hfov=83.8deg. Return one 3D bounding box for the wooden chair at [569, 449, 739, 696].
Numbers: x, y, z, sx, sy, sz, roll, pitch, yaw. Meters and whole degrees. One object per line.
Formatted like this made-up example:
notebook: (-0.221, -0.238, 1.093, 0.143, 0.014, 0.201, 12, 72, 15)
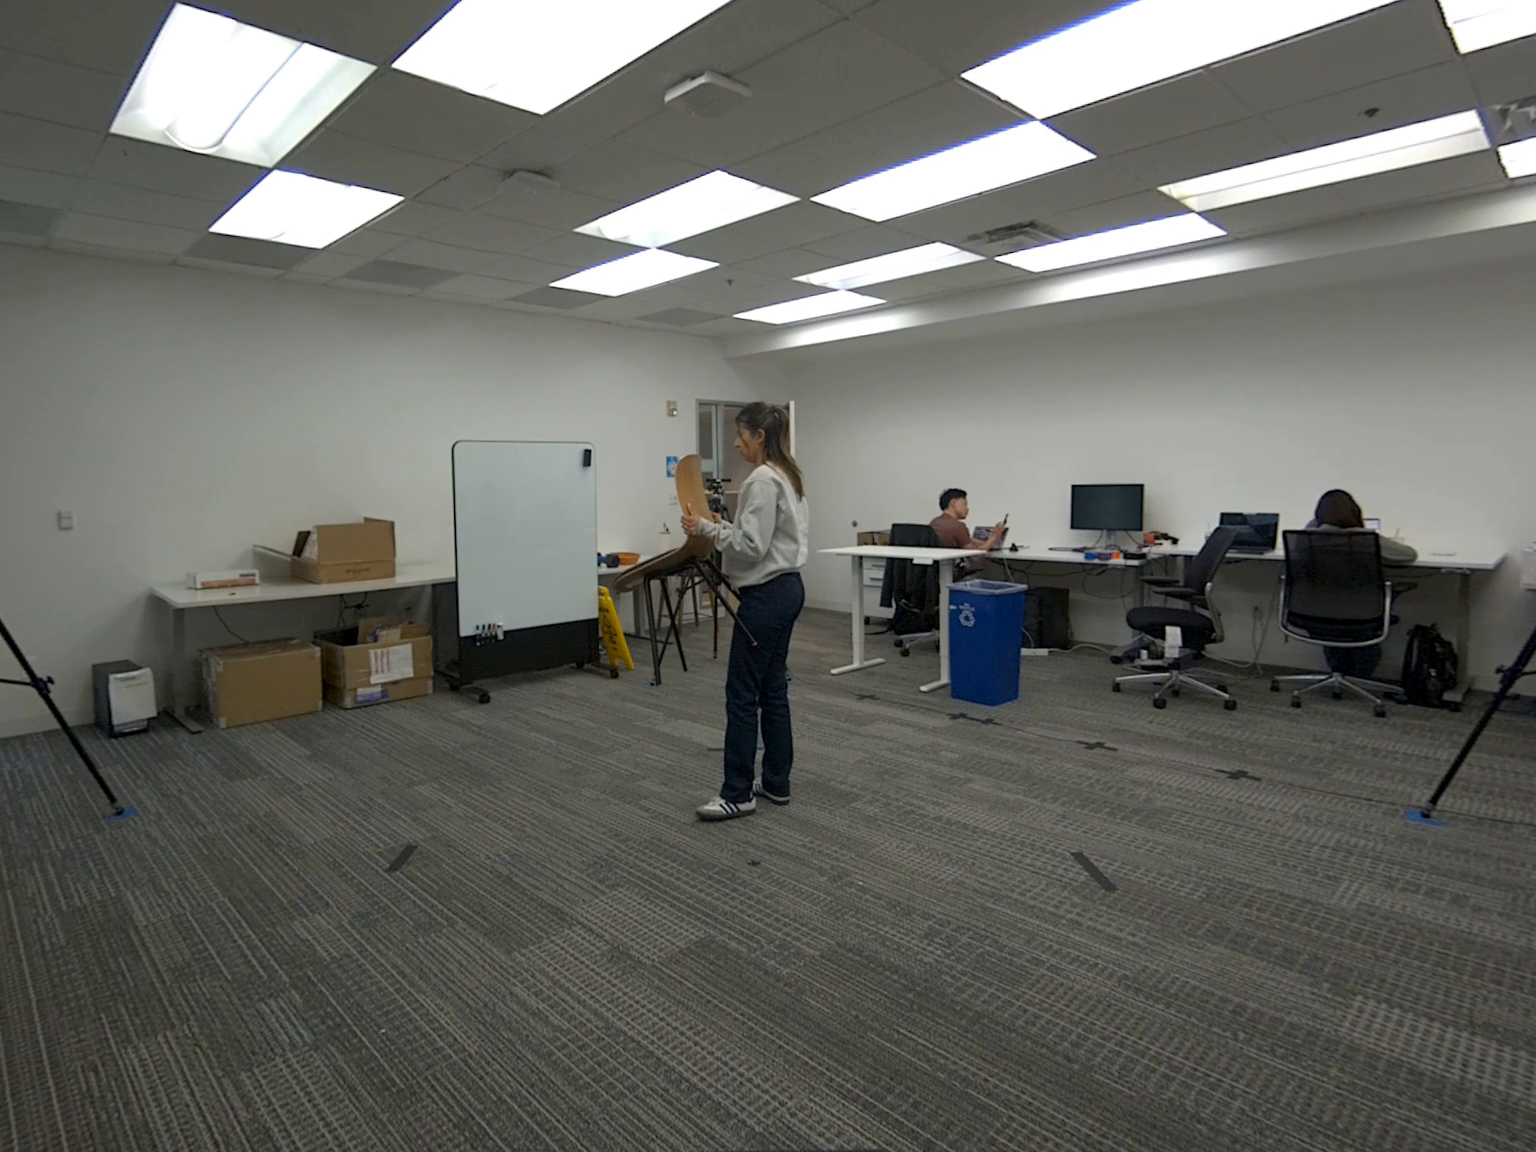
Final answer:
wooden chair: (-0.398, -0.027, 3.736, 0.527, 0.882, 0.472, -21, -3, 11)
